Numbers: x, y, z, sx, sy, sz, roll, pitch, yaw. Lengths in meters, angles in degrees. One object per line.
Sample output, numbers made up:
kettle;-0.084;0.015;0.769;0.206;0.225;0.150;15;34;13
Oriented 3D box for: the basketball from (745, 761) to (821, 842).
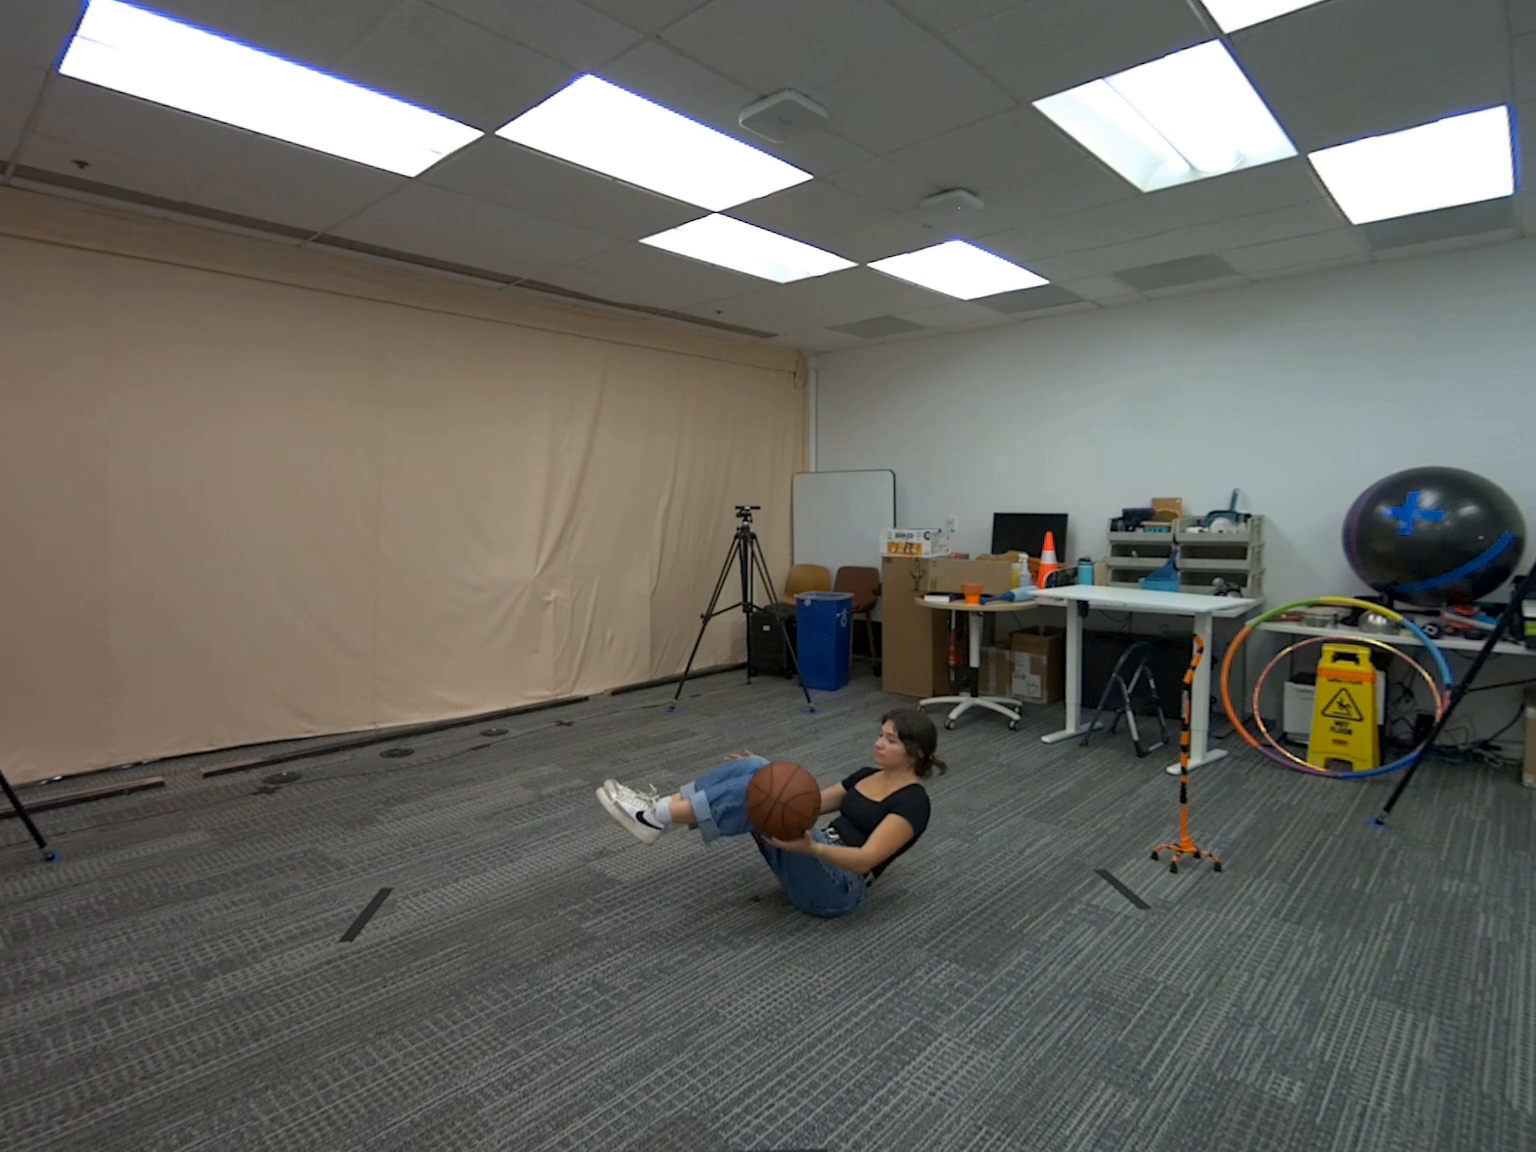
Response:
basketball;0.046;0.702;2.635;0.236;0.235;0.237;0;4;-2
